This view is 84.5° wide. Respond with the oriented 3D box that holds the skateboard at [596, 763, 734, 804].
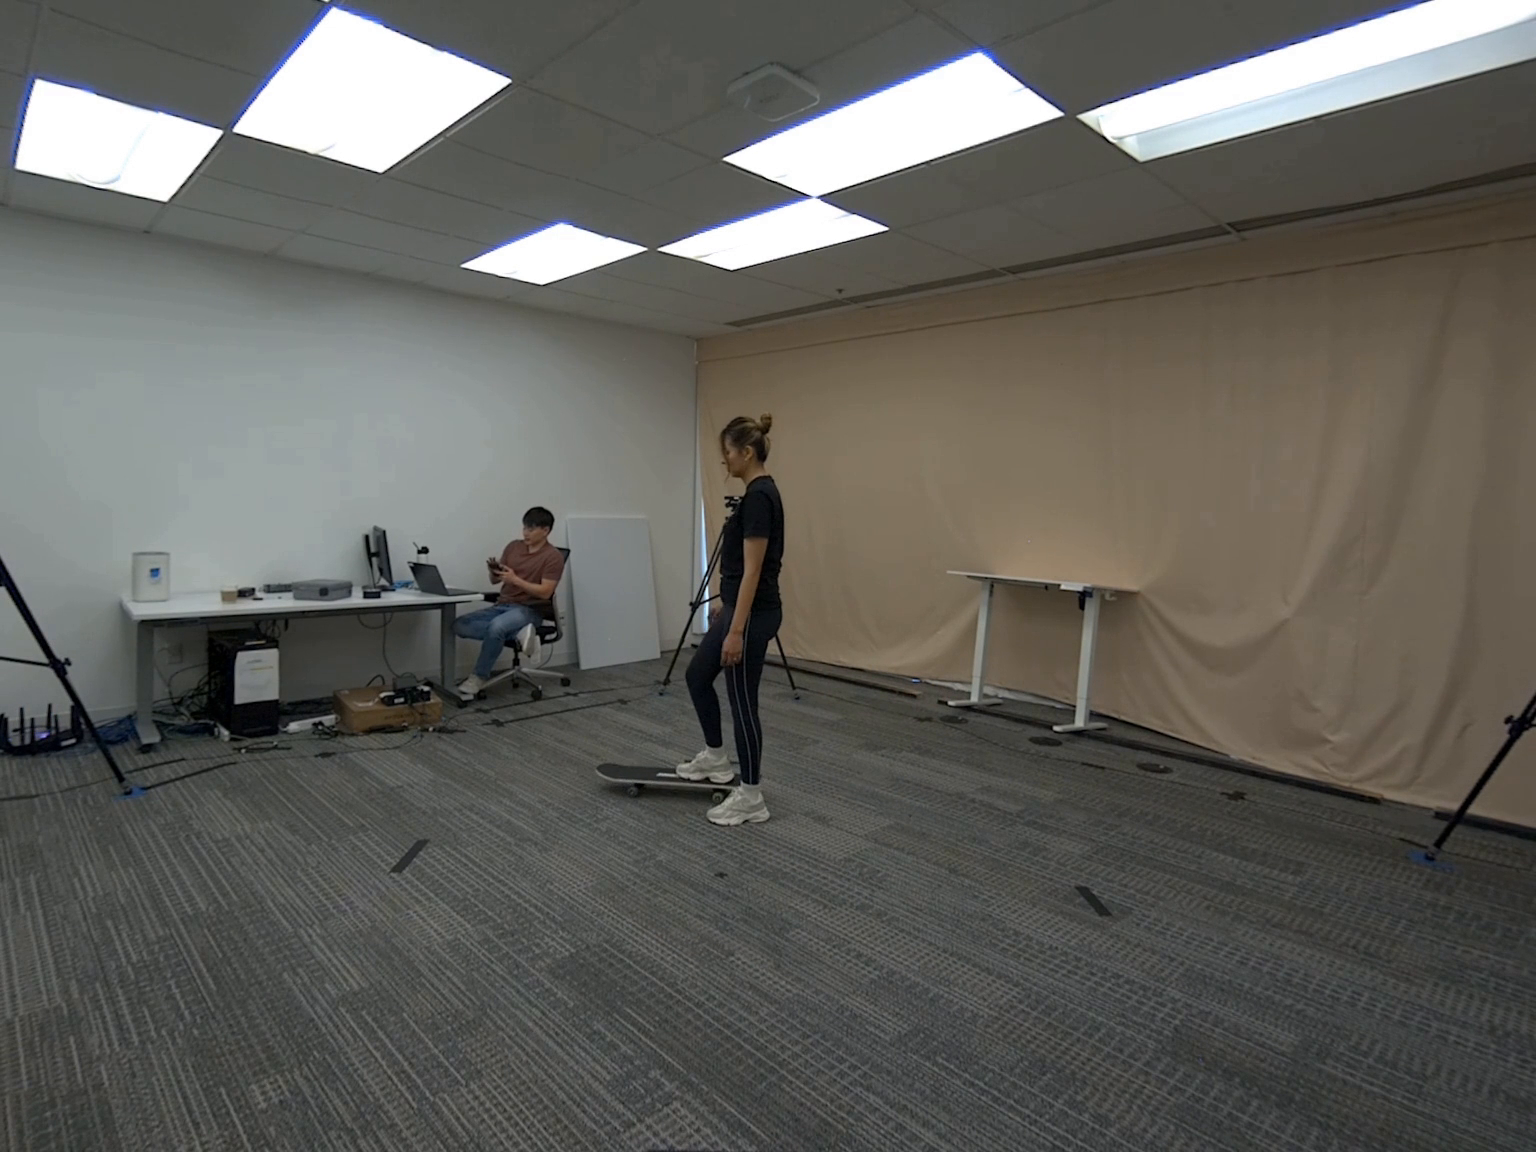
[{"bbox_3d":[-0.434,0.969,3.942,0.791,0.110,0.193,3,5,8],"label":"skateboard"}]
